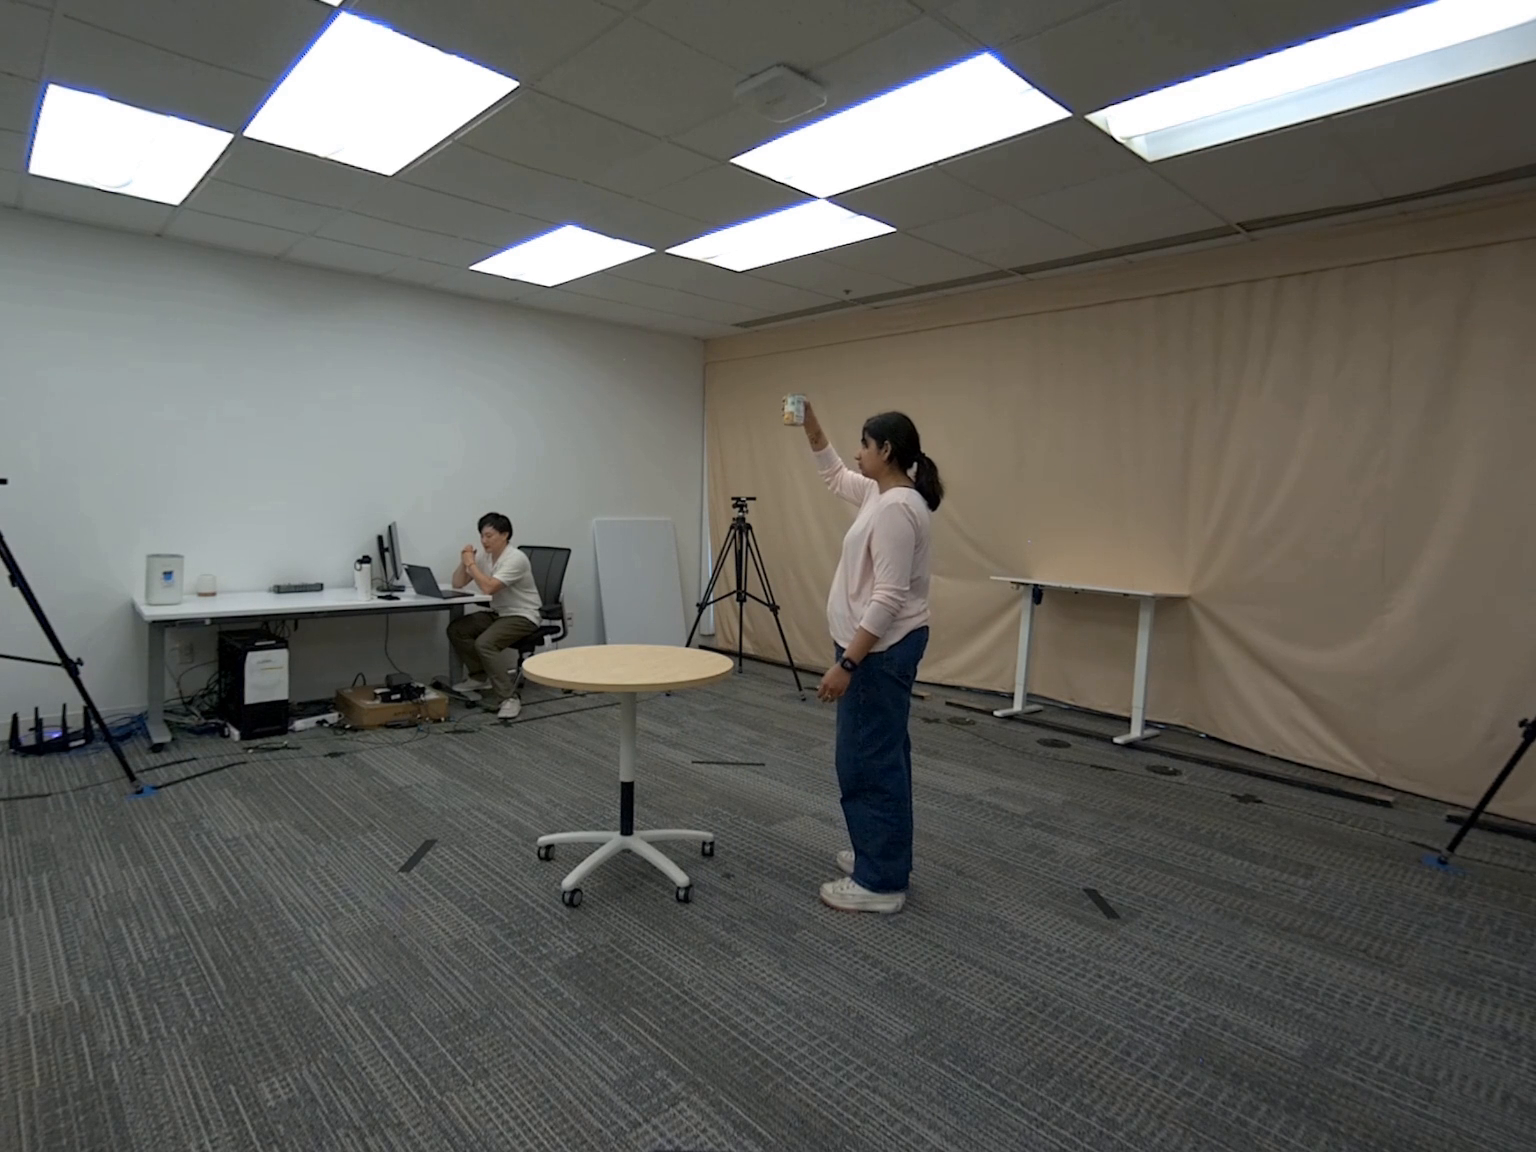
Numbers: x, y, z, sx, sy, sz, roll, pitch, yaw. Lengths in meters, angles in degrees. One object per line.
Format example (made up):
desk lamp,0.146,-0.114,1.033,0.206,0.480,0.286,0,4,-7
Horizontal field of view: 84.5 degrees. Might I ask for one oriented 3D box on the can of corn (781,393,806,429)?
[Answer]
can of corn,0.090,-0.601,3.074,0.074,0.111,0.074,4,3,-2
